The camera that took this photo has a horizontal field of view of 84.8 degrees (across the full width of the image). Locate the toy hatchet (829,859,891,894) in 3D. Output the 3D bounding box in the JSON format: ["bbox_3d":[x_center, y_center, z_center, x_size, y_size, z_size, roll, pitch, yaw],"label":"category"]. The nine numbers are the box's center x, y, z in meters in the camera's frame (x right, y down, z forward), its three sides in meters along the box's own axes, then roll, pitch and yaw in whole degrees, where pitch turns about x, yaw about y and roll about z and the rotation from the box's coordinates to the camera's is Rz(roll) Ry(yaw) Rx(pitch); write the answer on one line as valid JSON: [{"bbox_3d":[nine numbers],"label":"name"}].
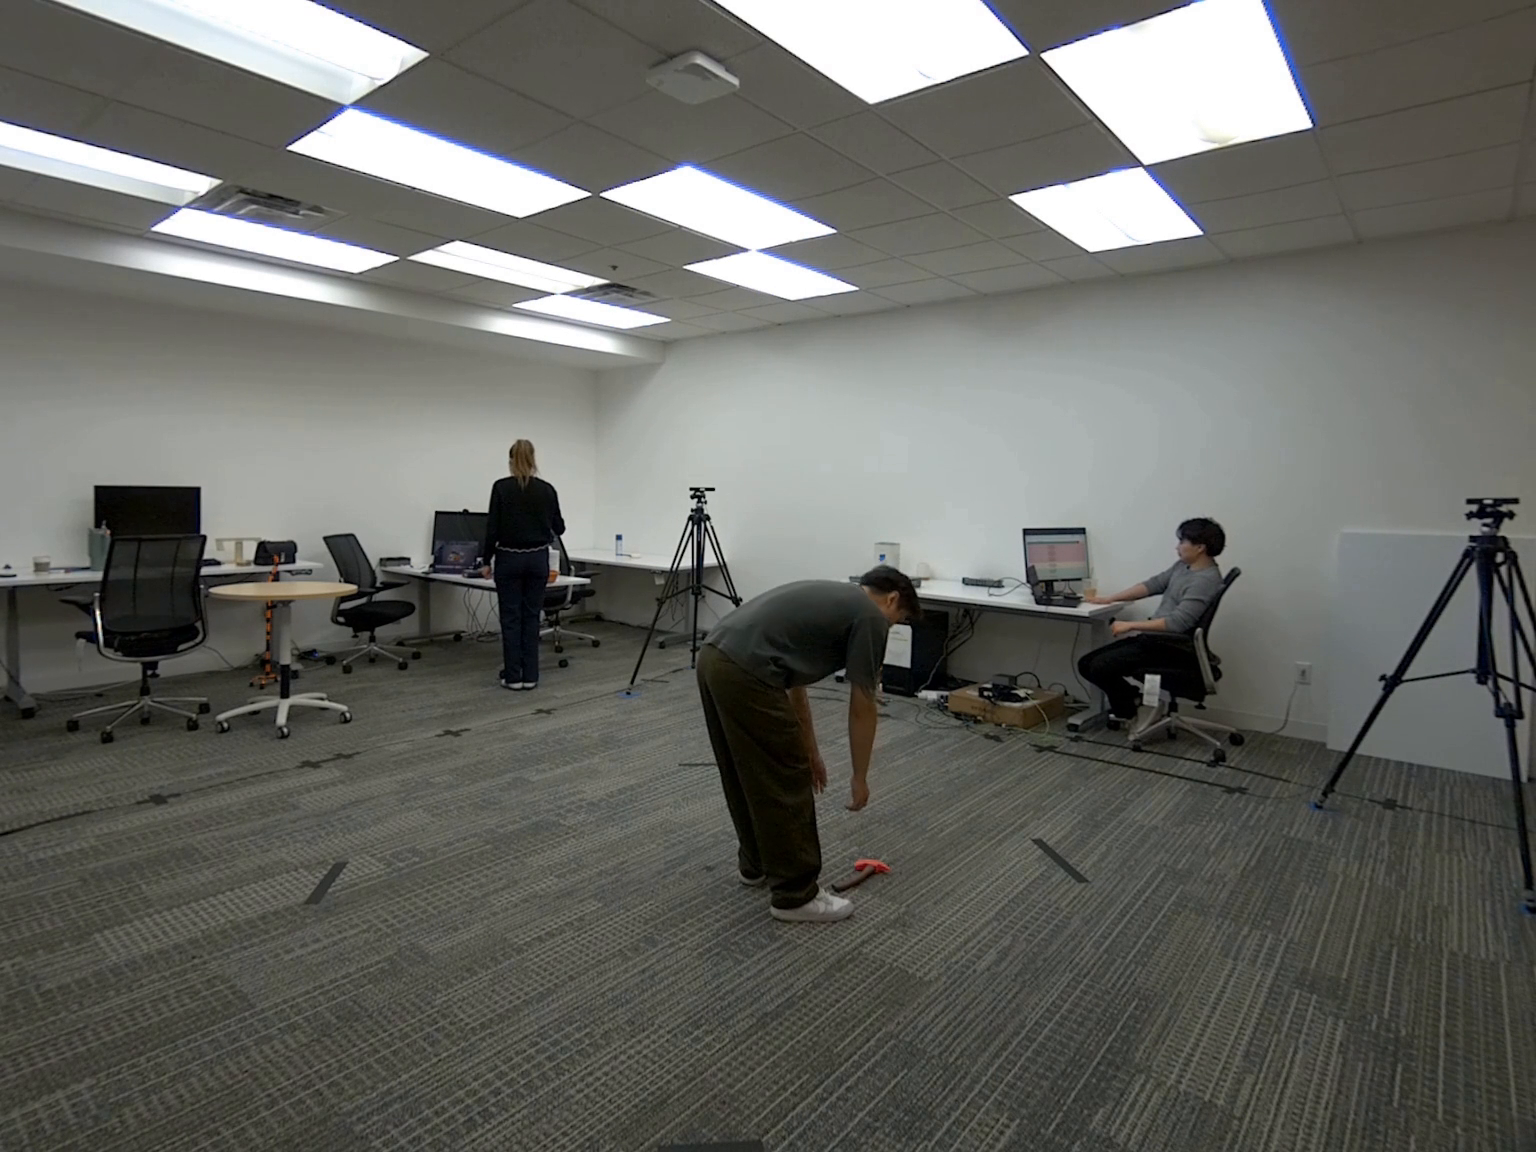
[{"bbox_3d":[0.303,1.074,3.066,0.262,0.029,0.135,-5,9,-36],"label":"toy hatchet"}]
